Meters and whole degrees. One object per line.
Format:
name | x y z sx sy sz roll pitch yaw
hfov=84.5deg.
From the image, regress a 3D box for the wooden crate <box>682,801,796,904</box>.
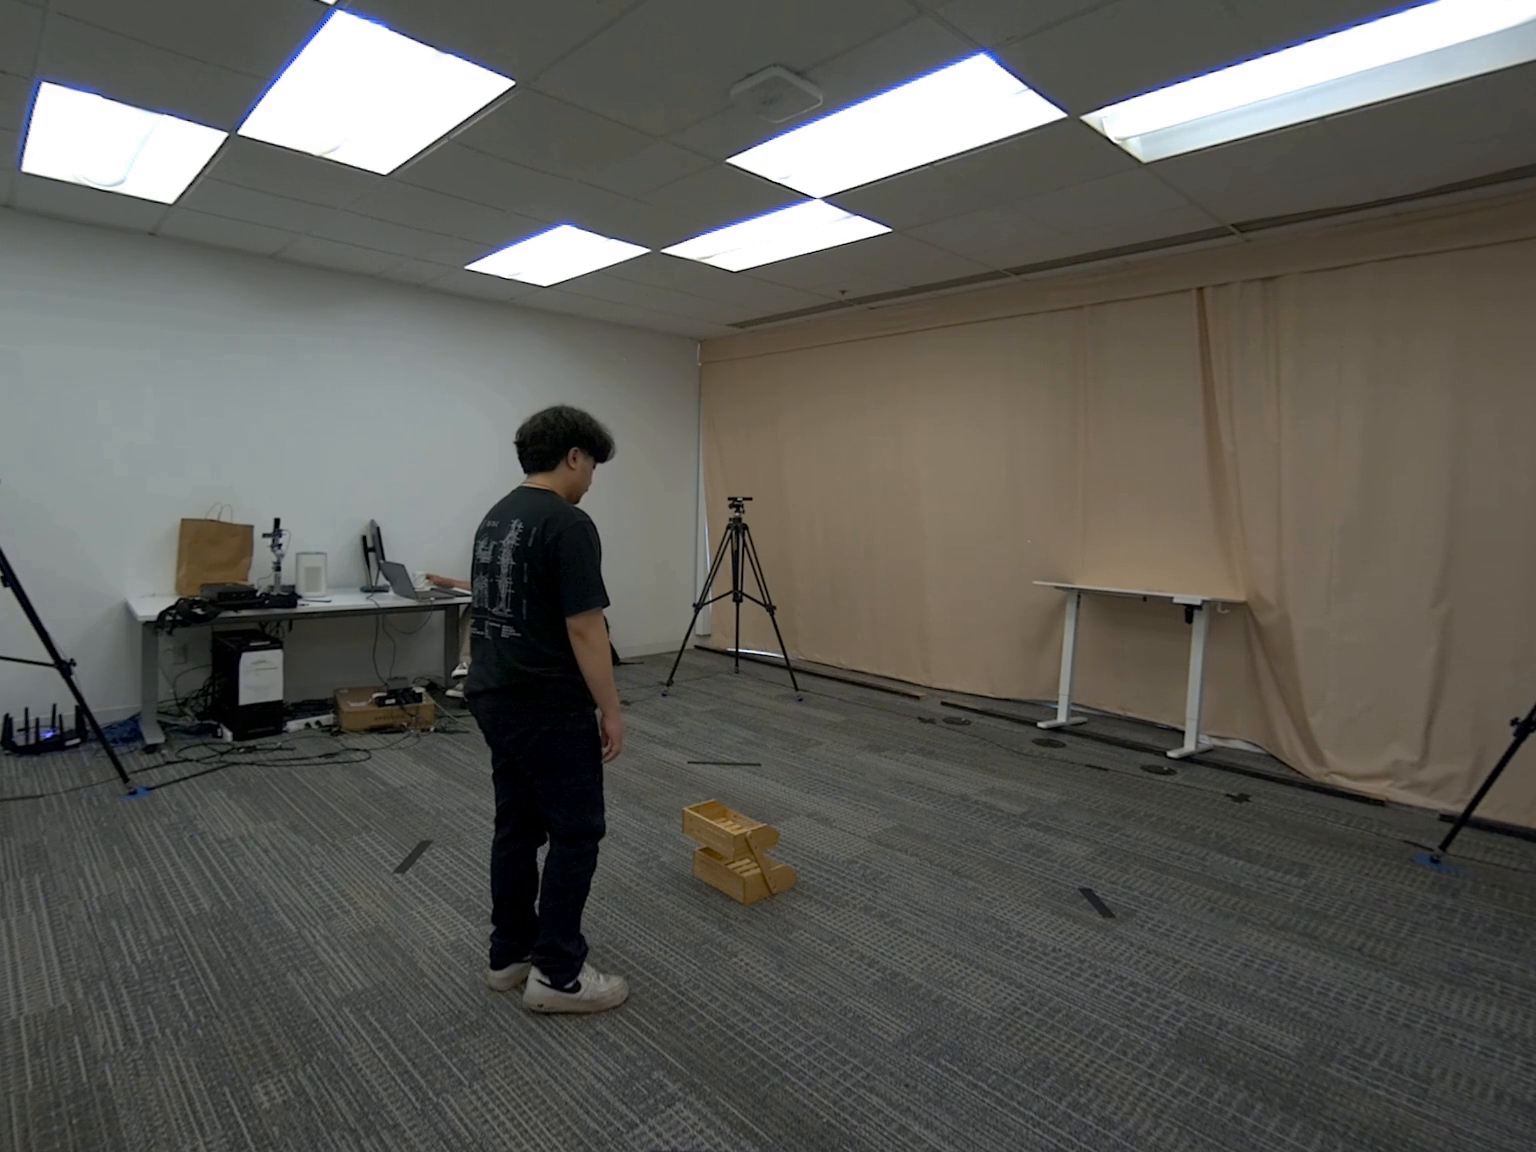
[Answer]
wooden crate | -0.108 0.978 3.053 0.295 0.272 0.333 -3 6 -41
